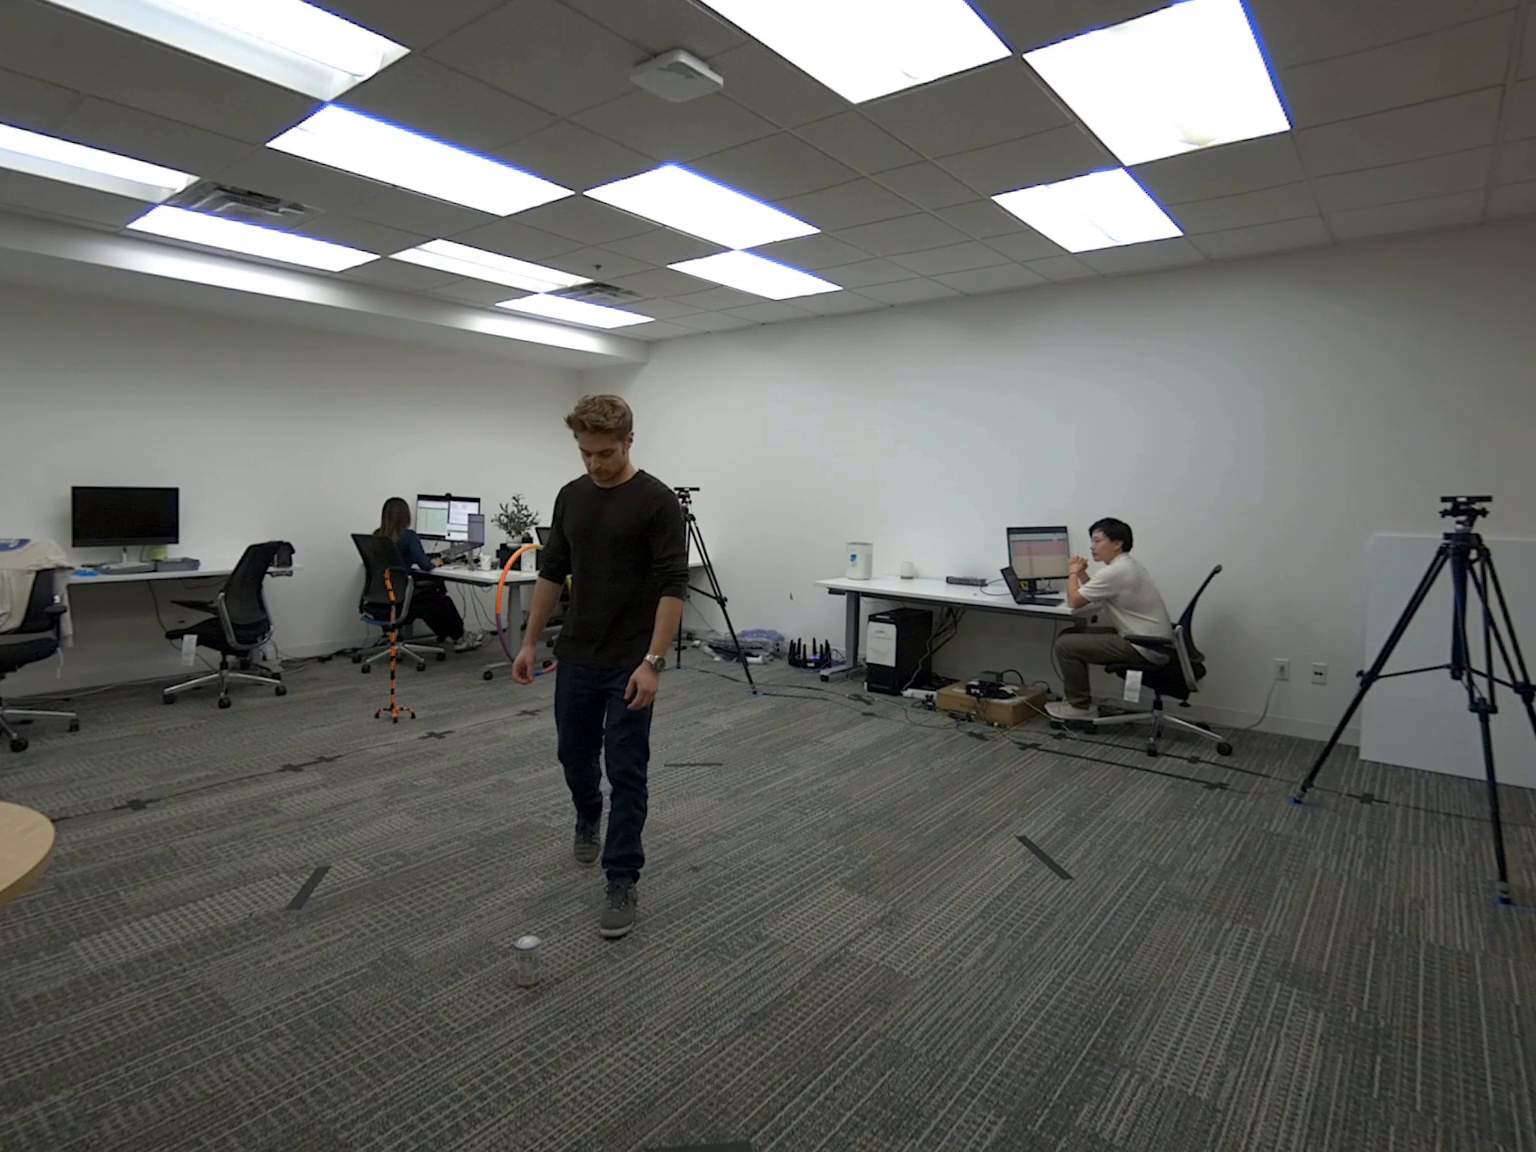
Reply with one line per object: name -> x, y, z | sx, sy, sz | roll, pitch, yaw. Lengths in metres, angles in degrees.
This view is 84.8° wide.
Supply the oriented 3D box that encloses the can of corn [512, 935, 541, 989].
can of corn -> -0.682, 1.076, 2.385 | 0.074, 0.110, 0.074 | 1, 5, -2
